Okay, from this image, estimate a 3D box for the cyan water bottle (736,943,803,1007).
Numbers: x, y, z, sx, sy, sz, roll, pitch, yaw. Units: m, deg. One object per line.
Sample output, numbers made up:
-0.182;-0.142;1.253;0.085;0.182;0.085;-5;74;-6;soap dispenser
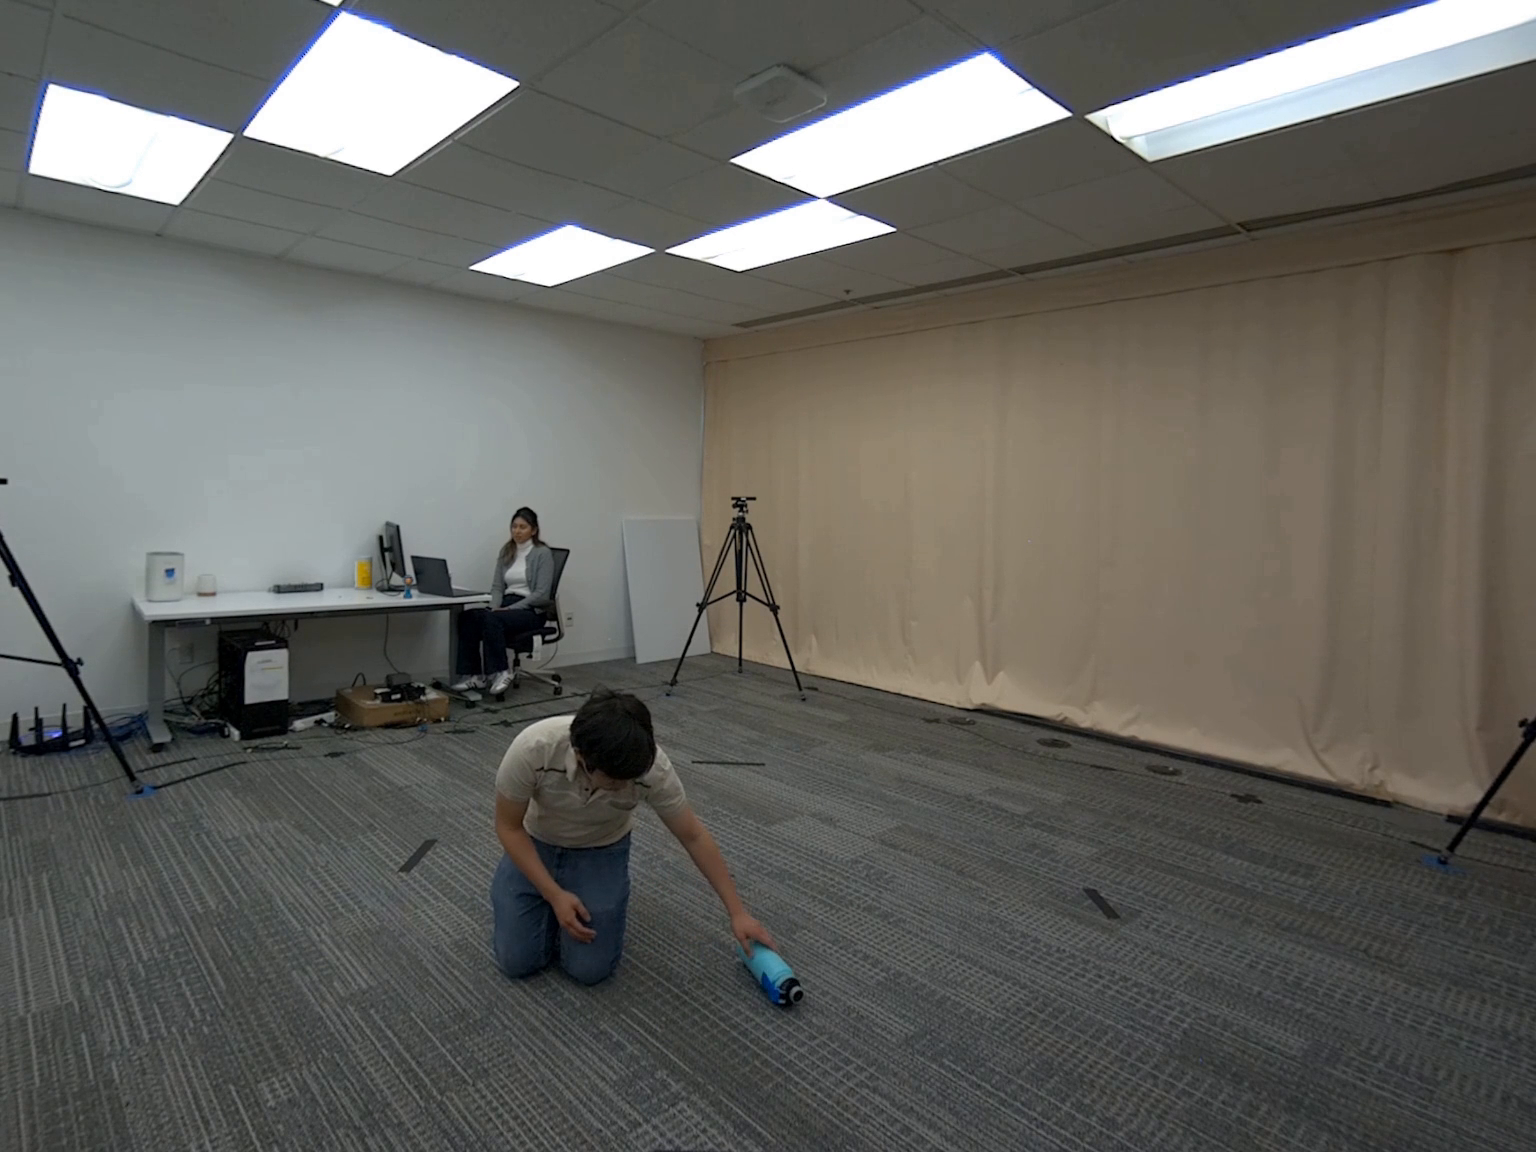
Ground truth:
-0.018;1.135;2.395;0.091;0.092;0.289;-1;6;-26;cyan water bottle
